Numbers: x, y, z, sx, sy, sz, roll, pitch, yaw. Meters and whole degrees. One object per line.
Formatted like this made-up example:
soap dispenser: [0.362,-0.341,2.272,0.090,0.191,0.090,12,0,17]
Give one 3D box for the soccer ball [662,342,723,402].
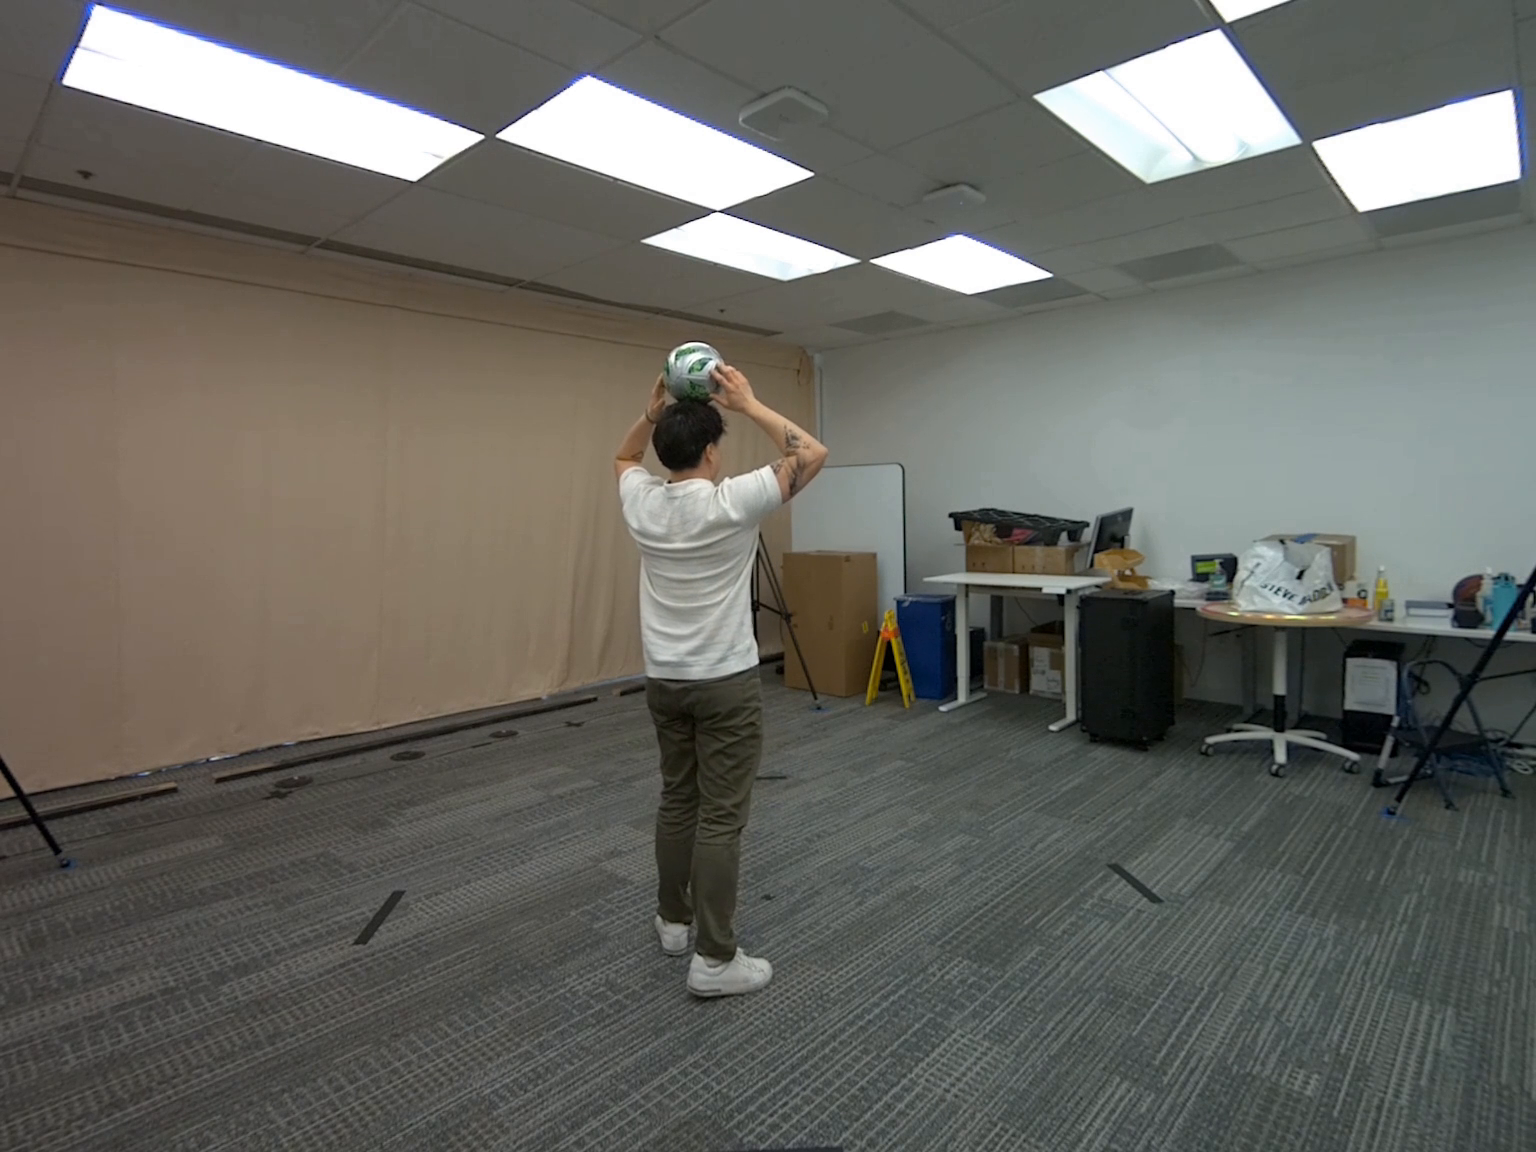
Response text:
soccer ball: [-0.214,-0.595,2.498,0.187,0.187,0.188,-1,4,-2]
